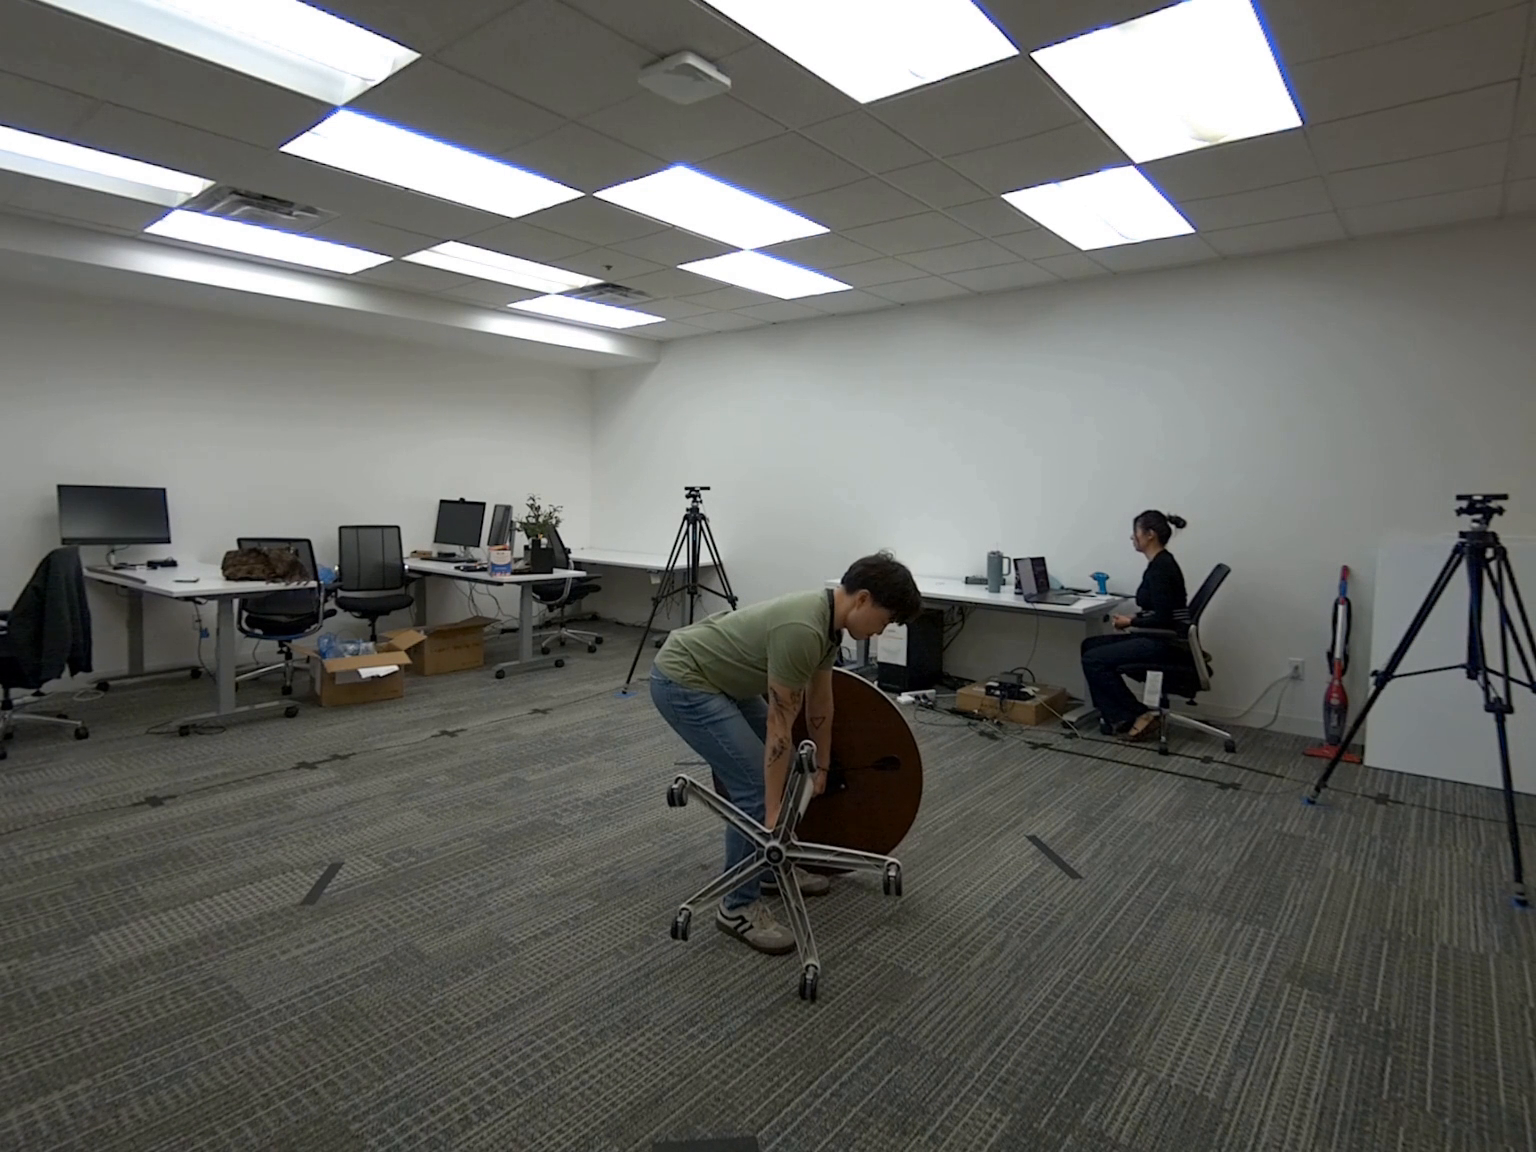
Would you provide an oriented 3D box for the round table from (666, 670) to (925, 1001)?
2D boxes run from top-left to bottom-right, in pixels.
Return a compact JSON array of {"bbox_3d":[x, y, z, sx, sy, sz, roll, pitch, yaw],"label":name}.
[{"bbox_3d":[0.078,0.744,2.684,0.776,0.759,0.786,2,7,14],"label":"round table"}]
